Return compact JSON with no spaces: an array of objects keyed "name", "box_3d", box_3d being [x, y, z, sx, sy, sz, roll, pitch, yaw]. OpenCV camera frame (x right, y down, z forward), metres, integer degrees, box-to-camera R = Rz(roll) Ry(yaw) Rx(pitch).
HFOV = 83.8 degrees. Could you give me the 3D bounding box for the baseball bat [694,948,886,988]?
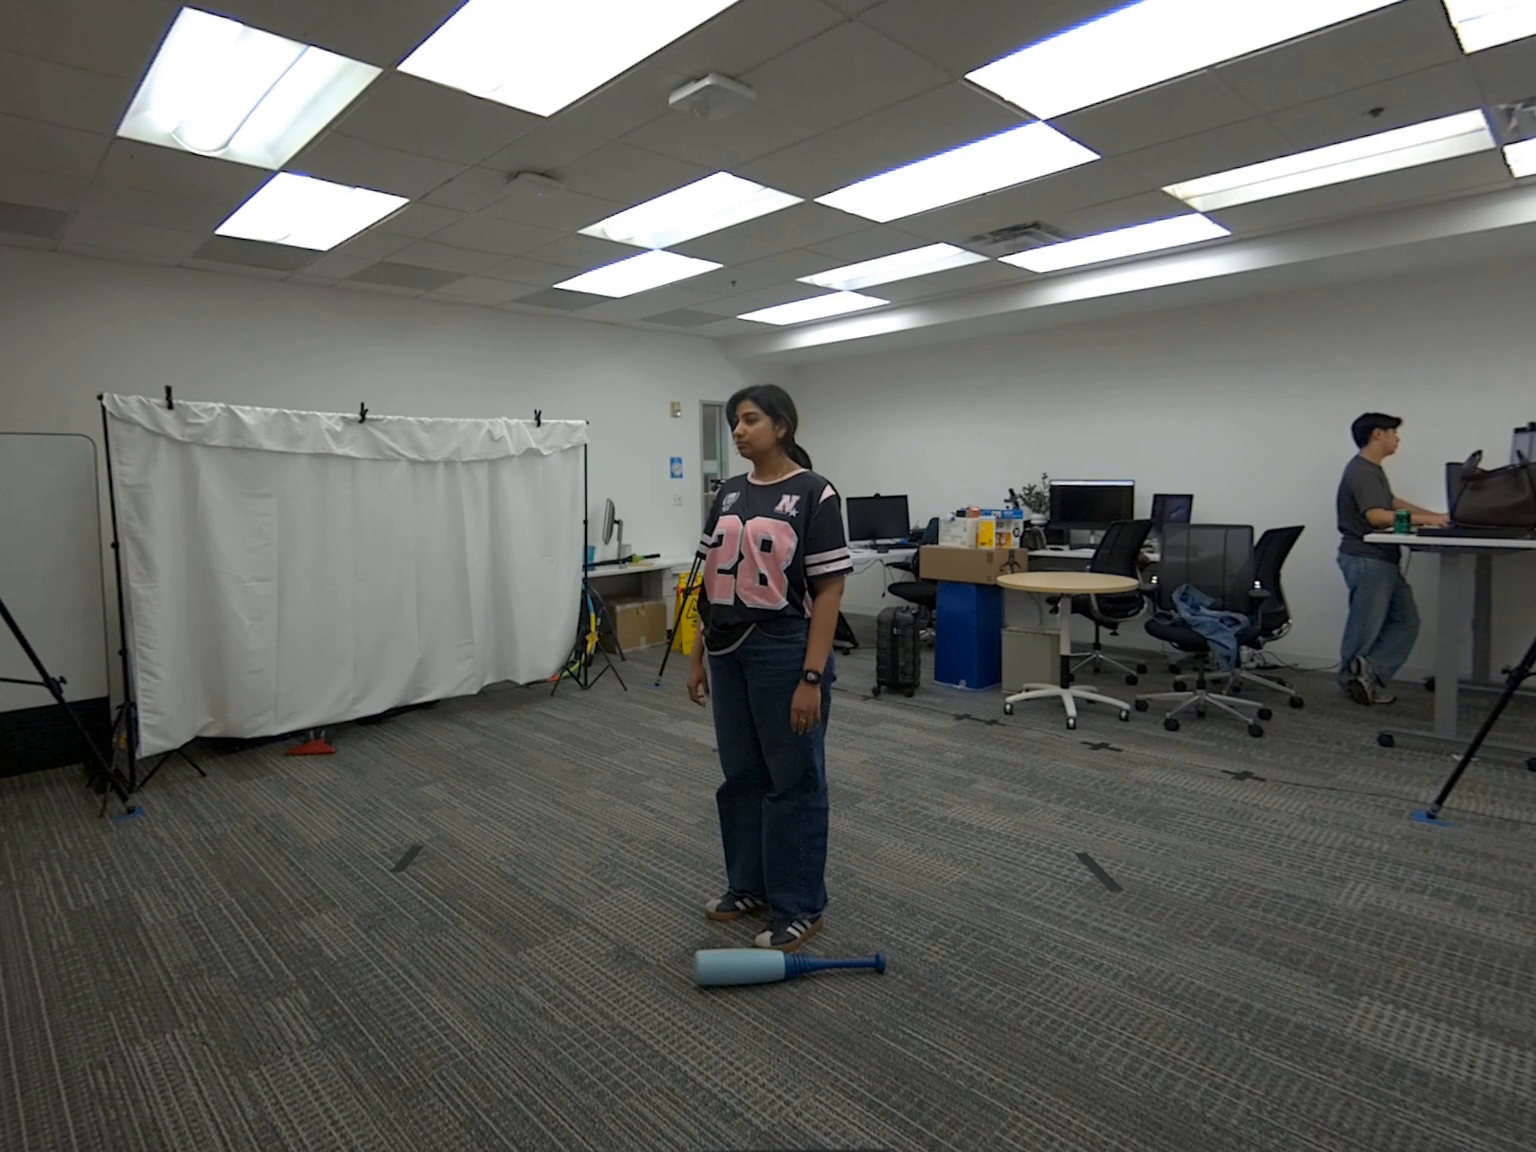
[{"name":"baseball bat","box_3d":[0.058,1.091,2.402,0.539,0.089,0.090,1,4,-6]}]
